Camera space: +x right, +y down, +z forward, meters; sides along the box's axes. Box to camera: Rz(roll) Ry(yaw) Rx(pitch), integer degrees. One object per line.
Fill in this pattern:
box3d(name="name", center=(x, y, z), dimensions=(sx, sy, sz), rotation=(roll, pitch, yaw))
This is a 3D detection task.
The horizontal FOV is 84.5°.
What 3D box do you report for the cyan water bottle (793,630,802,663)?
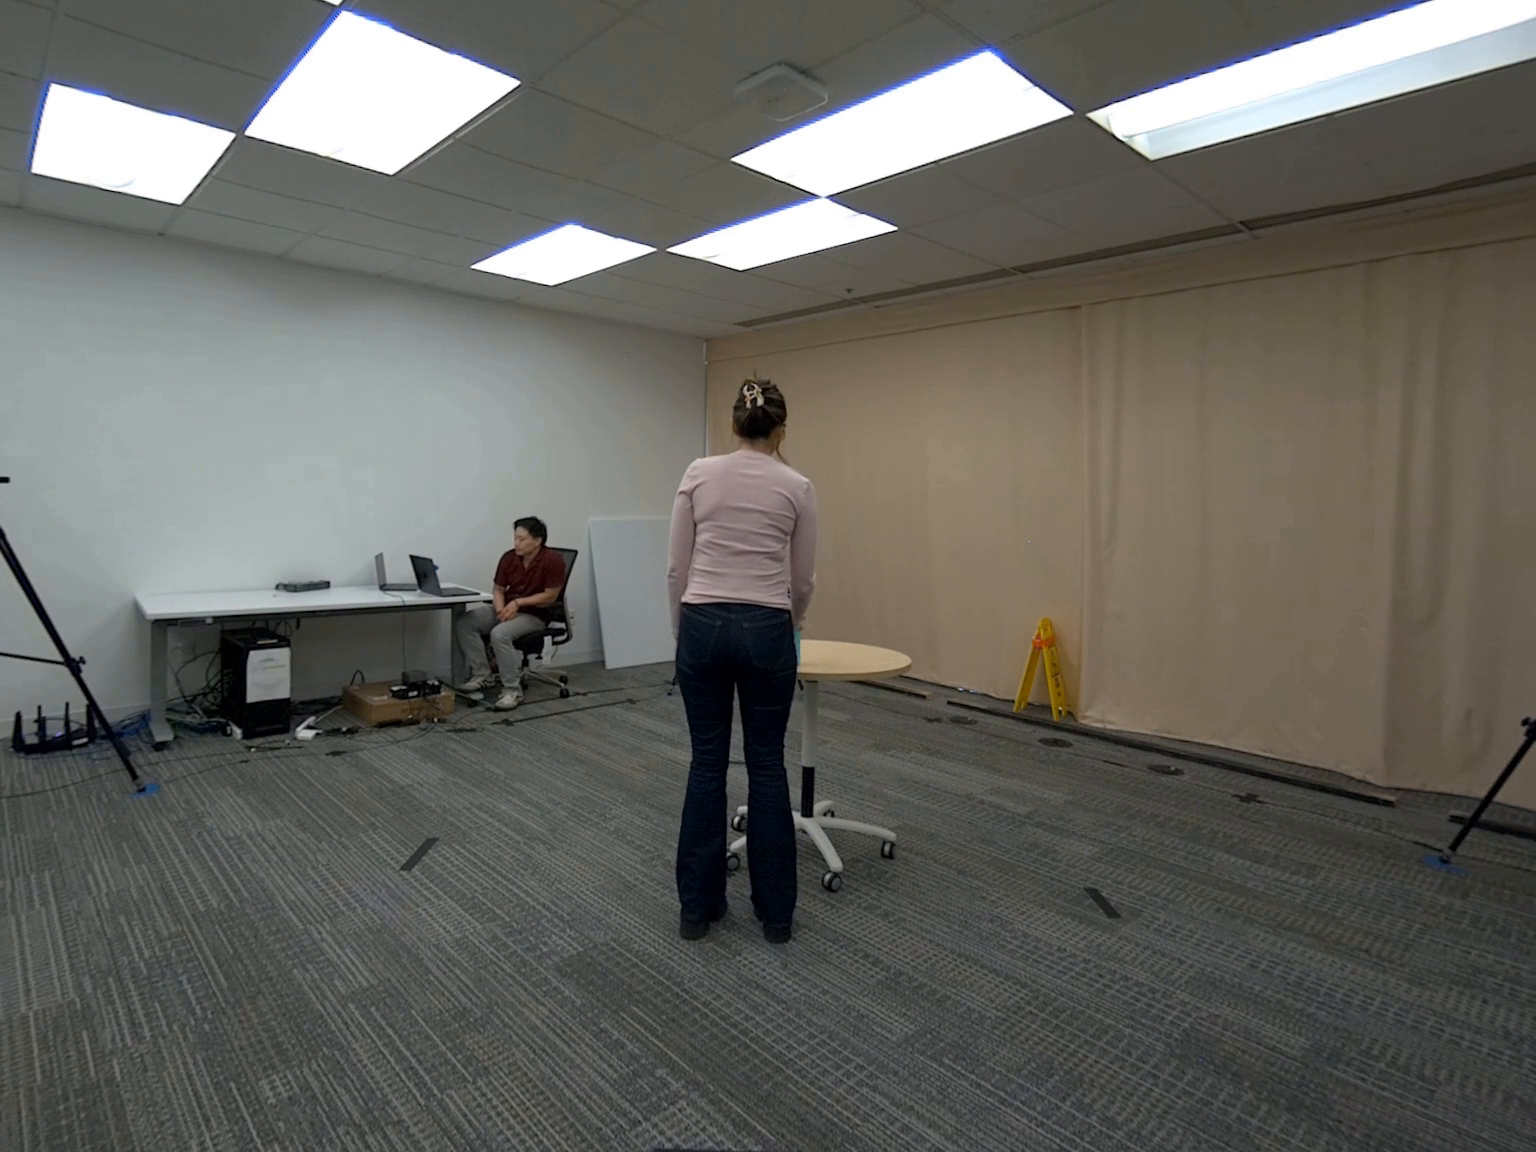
box3d(name="cyan water bottle", center=(0.067, 0.189, 3.074), dimensions=(0.092, 0.282, 0.092), rotation=(-4, 4, -1))
